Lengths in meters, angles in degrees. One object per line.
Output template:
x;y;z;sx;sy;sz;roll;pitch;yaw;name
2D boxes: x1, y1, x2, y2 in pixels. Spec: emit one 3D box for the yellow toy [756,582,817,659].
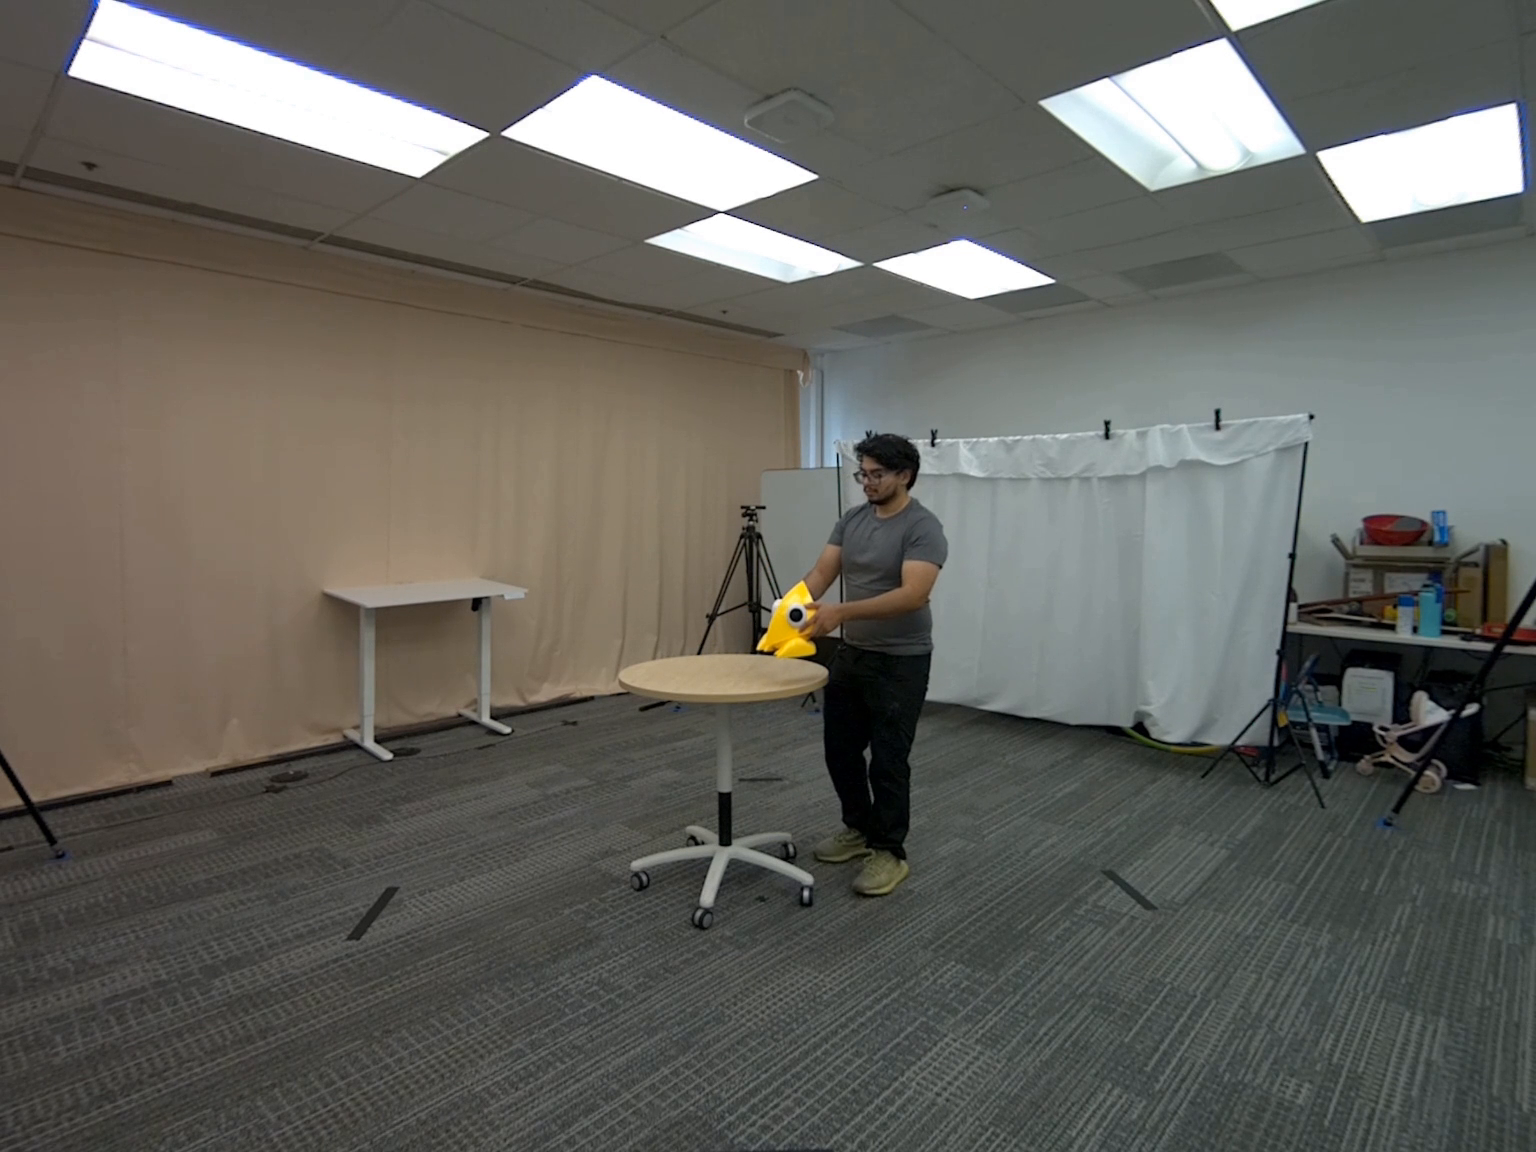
0.071;0.138;2.844;0.188;0.229;0.211;-6;8;-31;yellow toy
